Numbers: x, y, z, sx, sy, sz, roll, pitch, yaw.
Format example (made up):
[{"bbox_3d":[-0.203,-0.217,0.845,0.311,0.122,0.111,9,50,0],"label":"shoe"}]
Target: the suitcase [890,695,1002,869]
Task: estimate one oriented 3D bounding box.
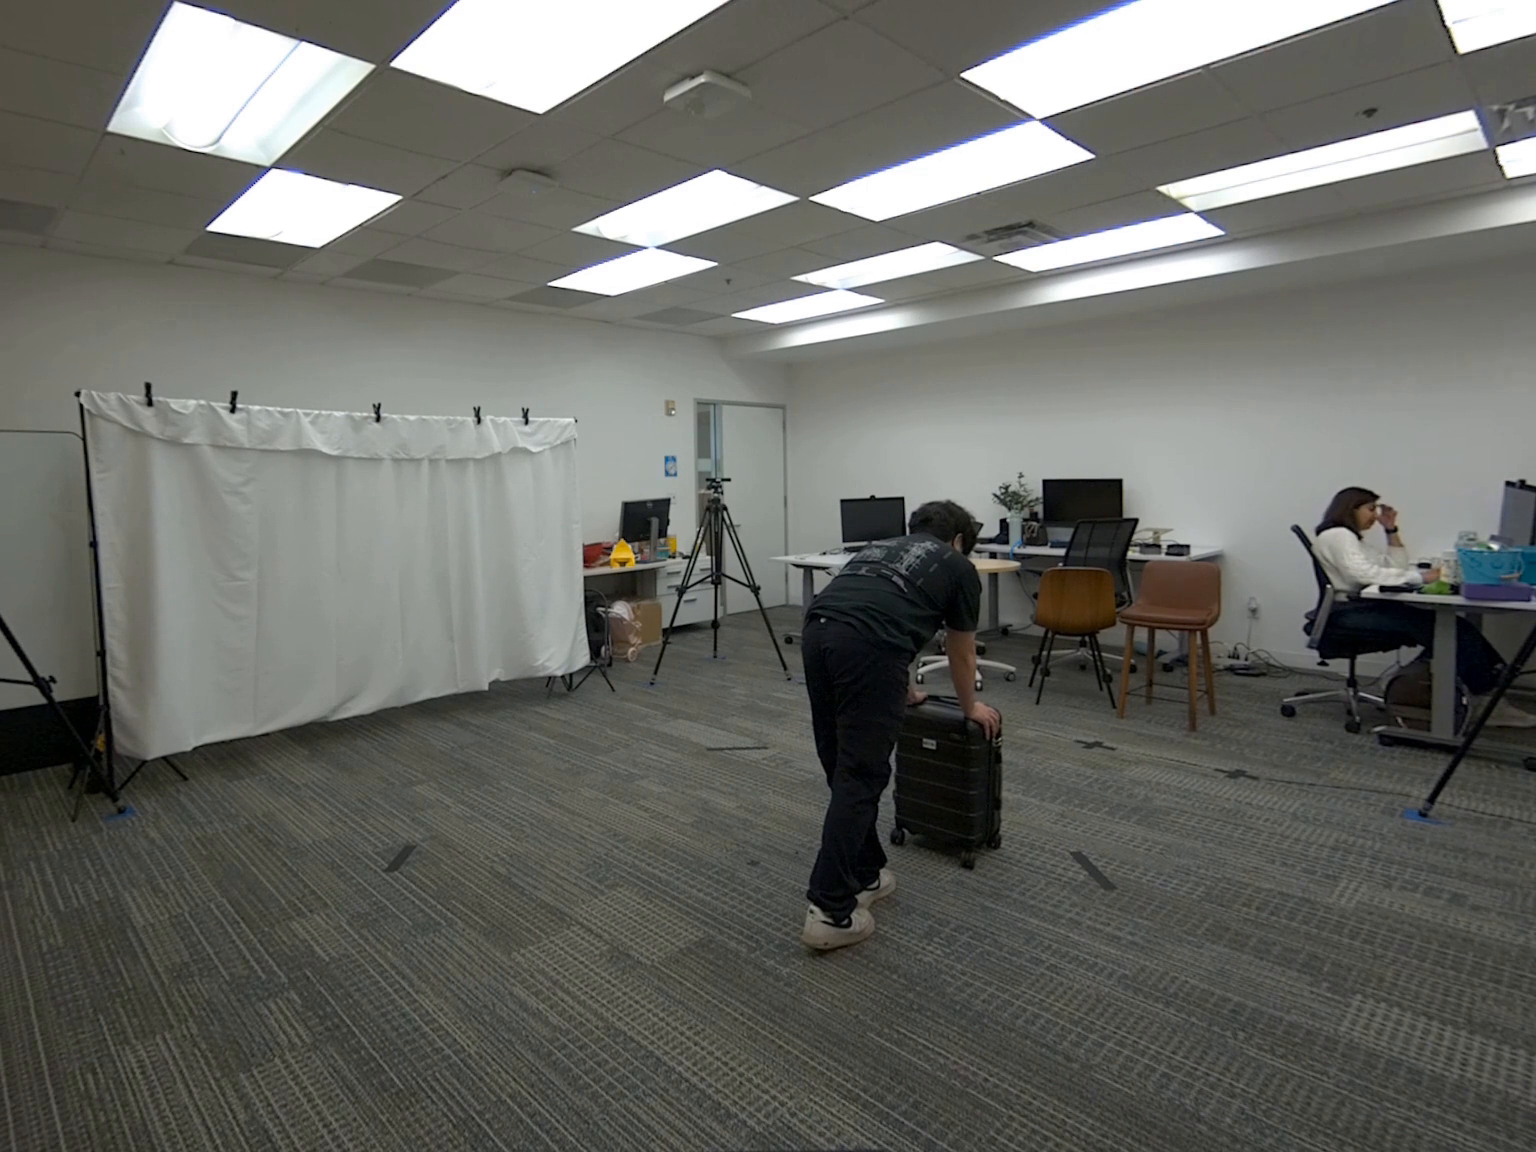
[{"bbox_3d":[0.686,0.745,3.226,0.387,0.549,0.241,2,2,42],"label":"suitcase"}]
